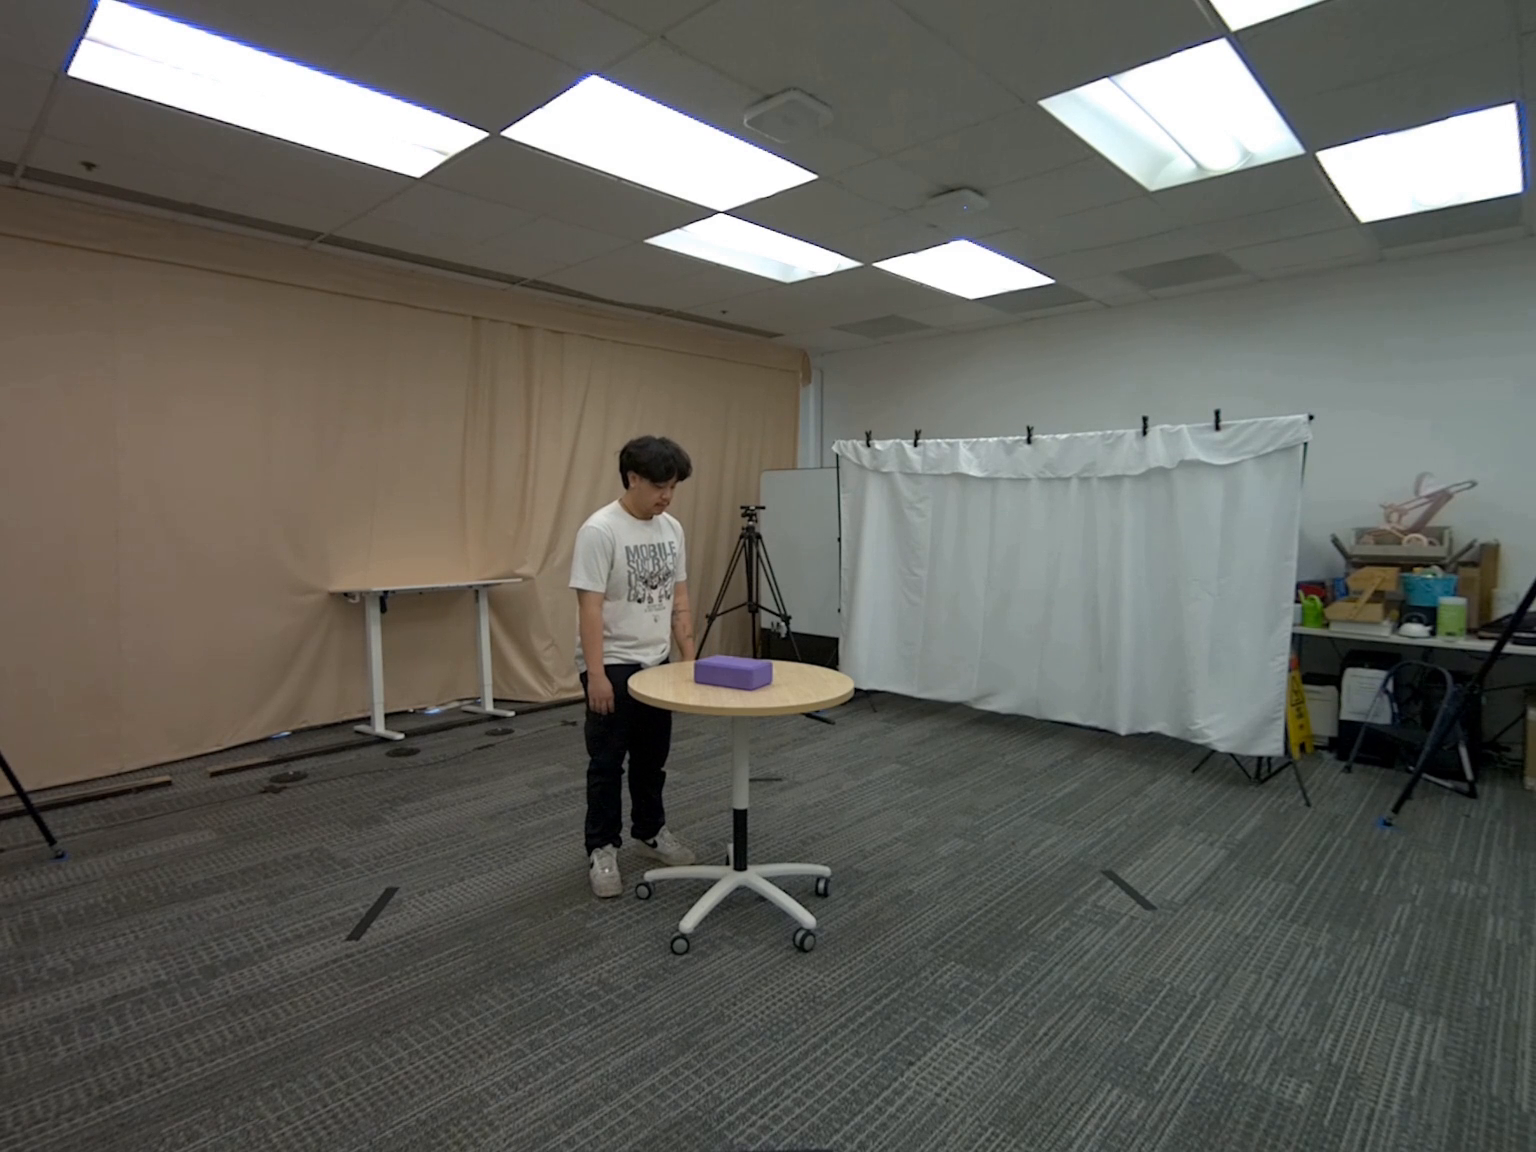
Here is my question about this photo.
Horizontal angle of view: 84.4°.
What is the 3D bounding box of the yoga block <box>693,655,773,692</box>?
[{"bbox_3d":[-0.114,0.321,2.815,0.236,0.076,0.145,3,6,30],"label":"yoga block"}]
